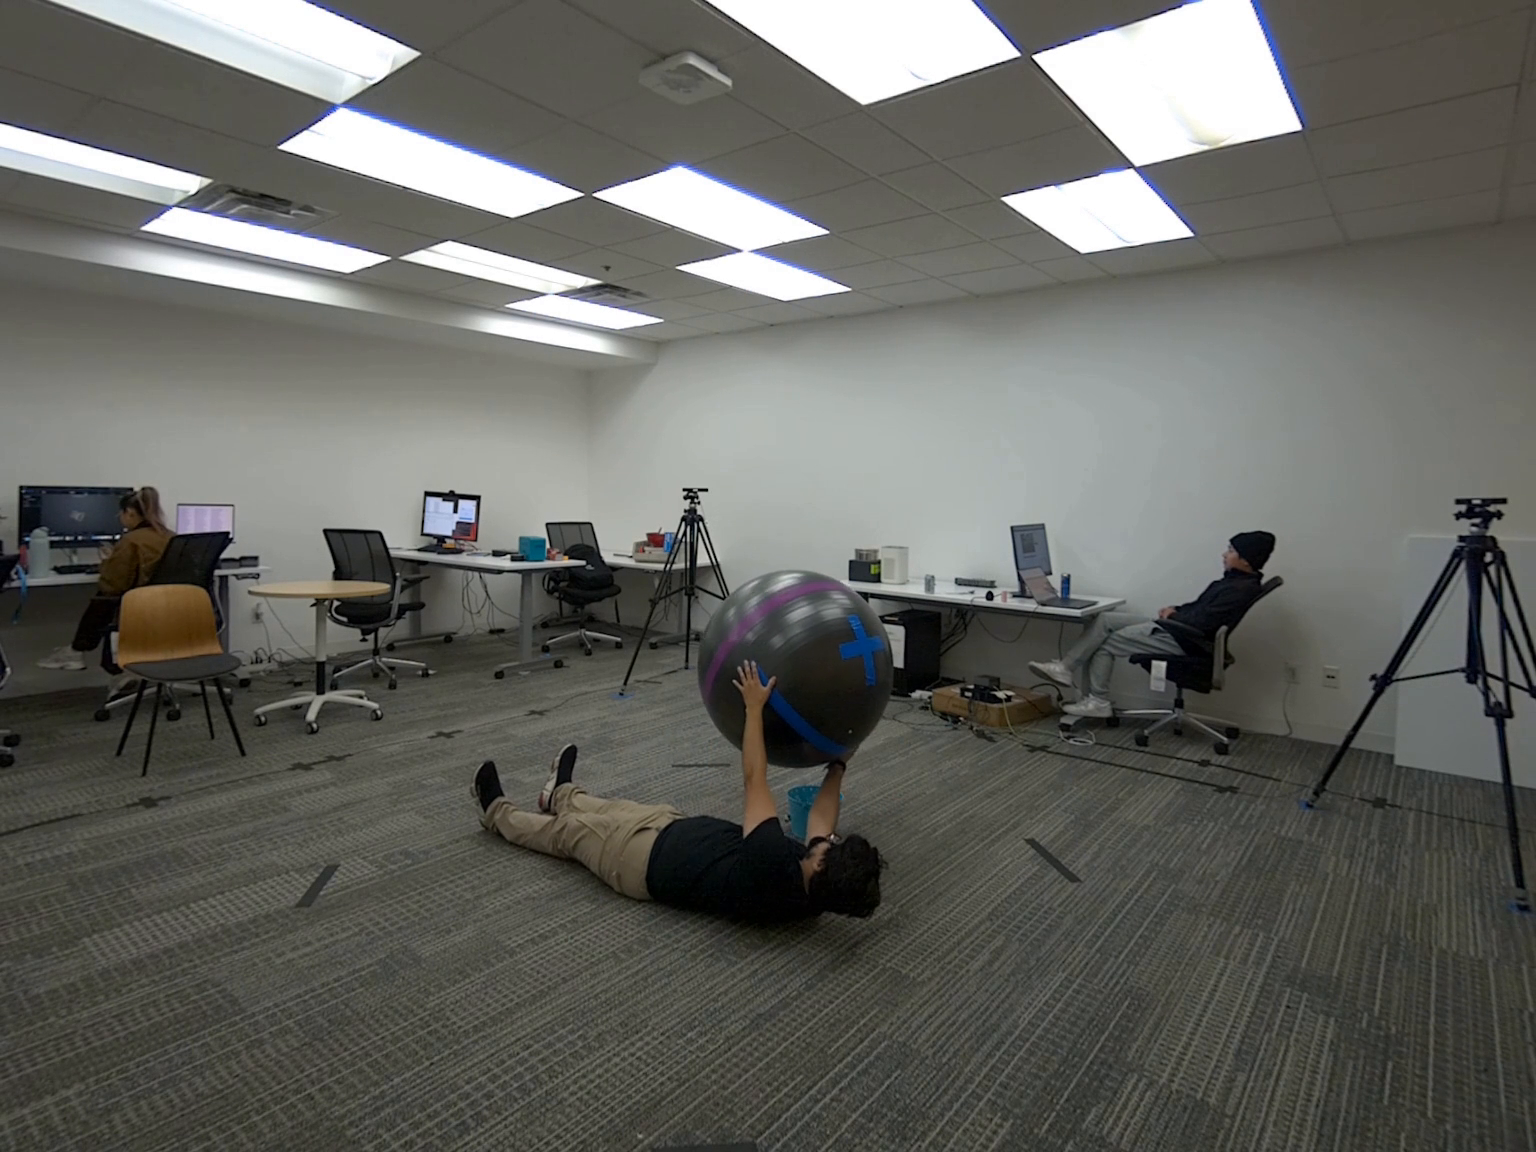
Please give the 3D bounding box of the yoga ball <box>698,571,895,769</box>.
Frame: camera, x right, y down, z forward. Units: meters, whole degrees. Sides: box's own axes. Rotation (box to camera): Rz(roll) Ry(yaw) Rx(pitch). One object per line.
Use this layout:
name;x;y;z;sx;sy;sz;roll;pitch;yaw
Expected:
yoga ball;0.094;0.358;3.308;0.757;0.756;0.761;0;4;-2
